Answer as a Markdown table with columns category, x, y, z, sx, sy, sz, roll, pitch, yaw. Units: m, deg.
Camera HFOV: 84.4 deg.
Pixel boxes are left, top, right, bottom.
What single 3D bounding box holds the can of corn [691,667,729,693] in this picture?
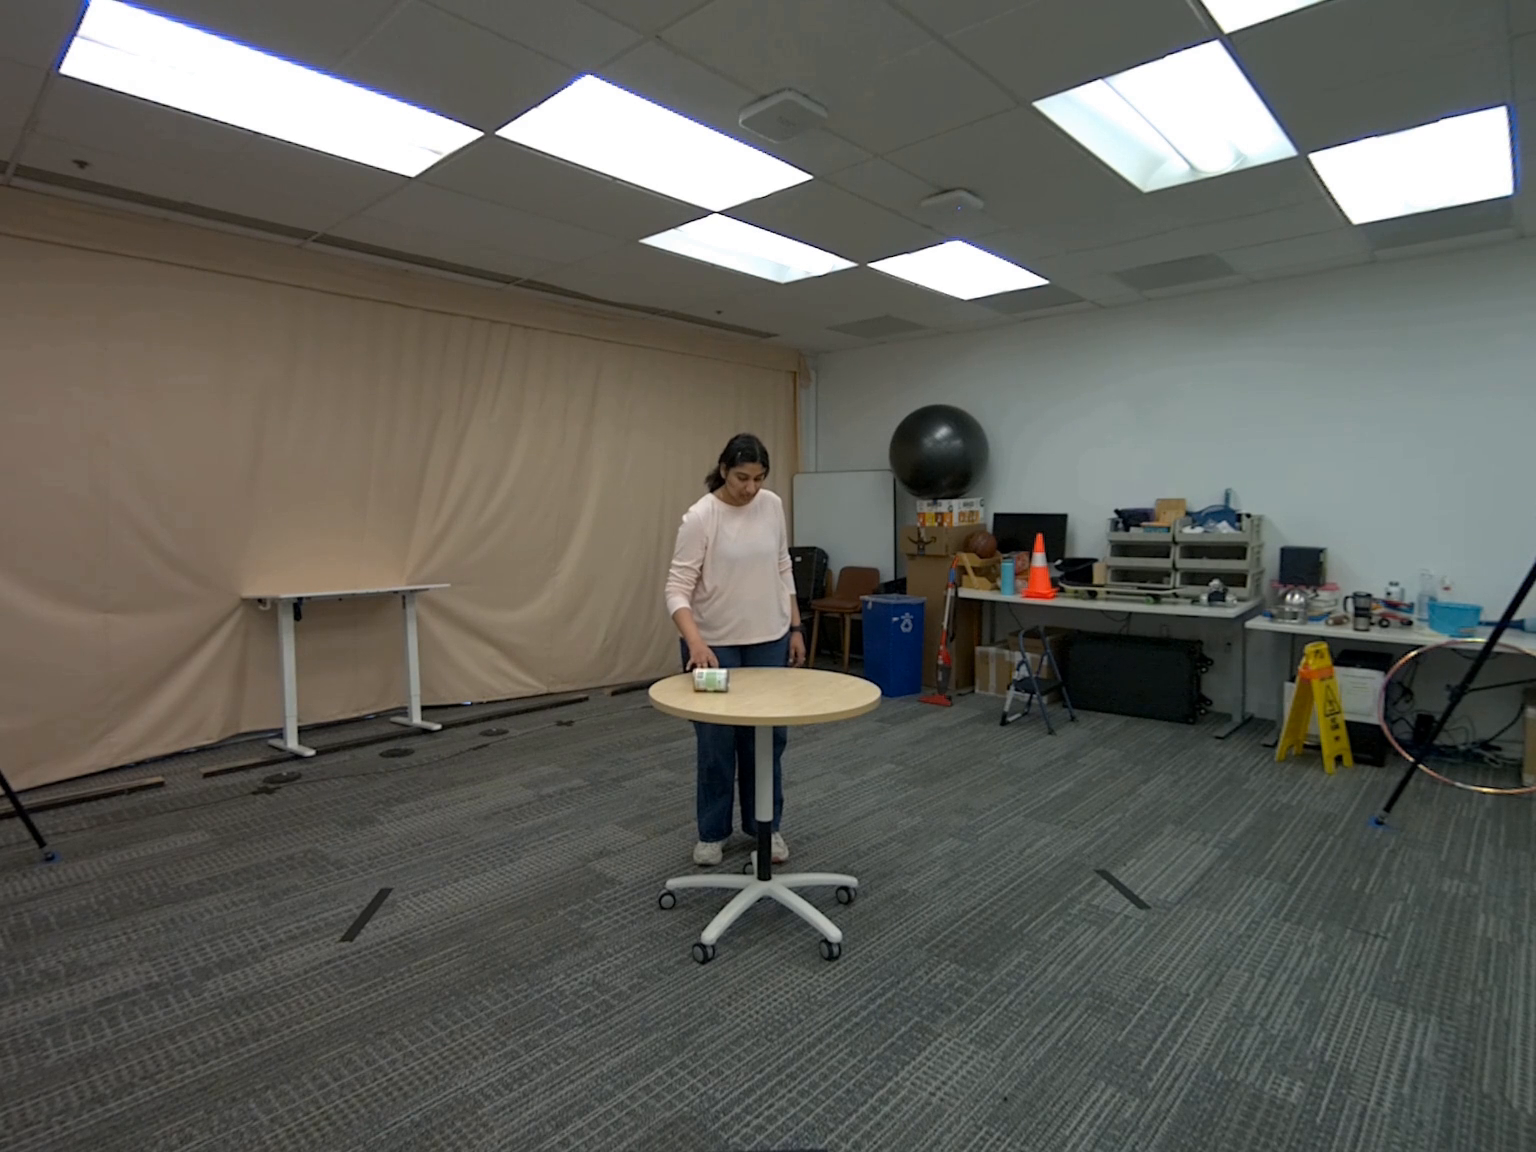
| category | x | y | z | sx | sy | sz | roll | pitch | yaw |
| --- | --- | --- | --- | --- | --- | --- | --- | --- | --- |
| can of corn | -0.191 | 0.338 | 2.771 | 0.112 | 0.074 | 0.074 | -1 | 4 | 4 |
